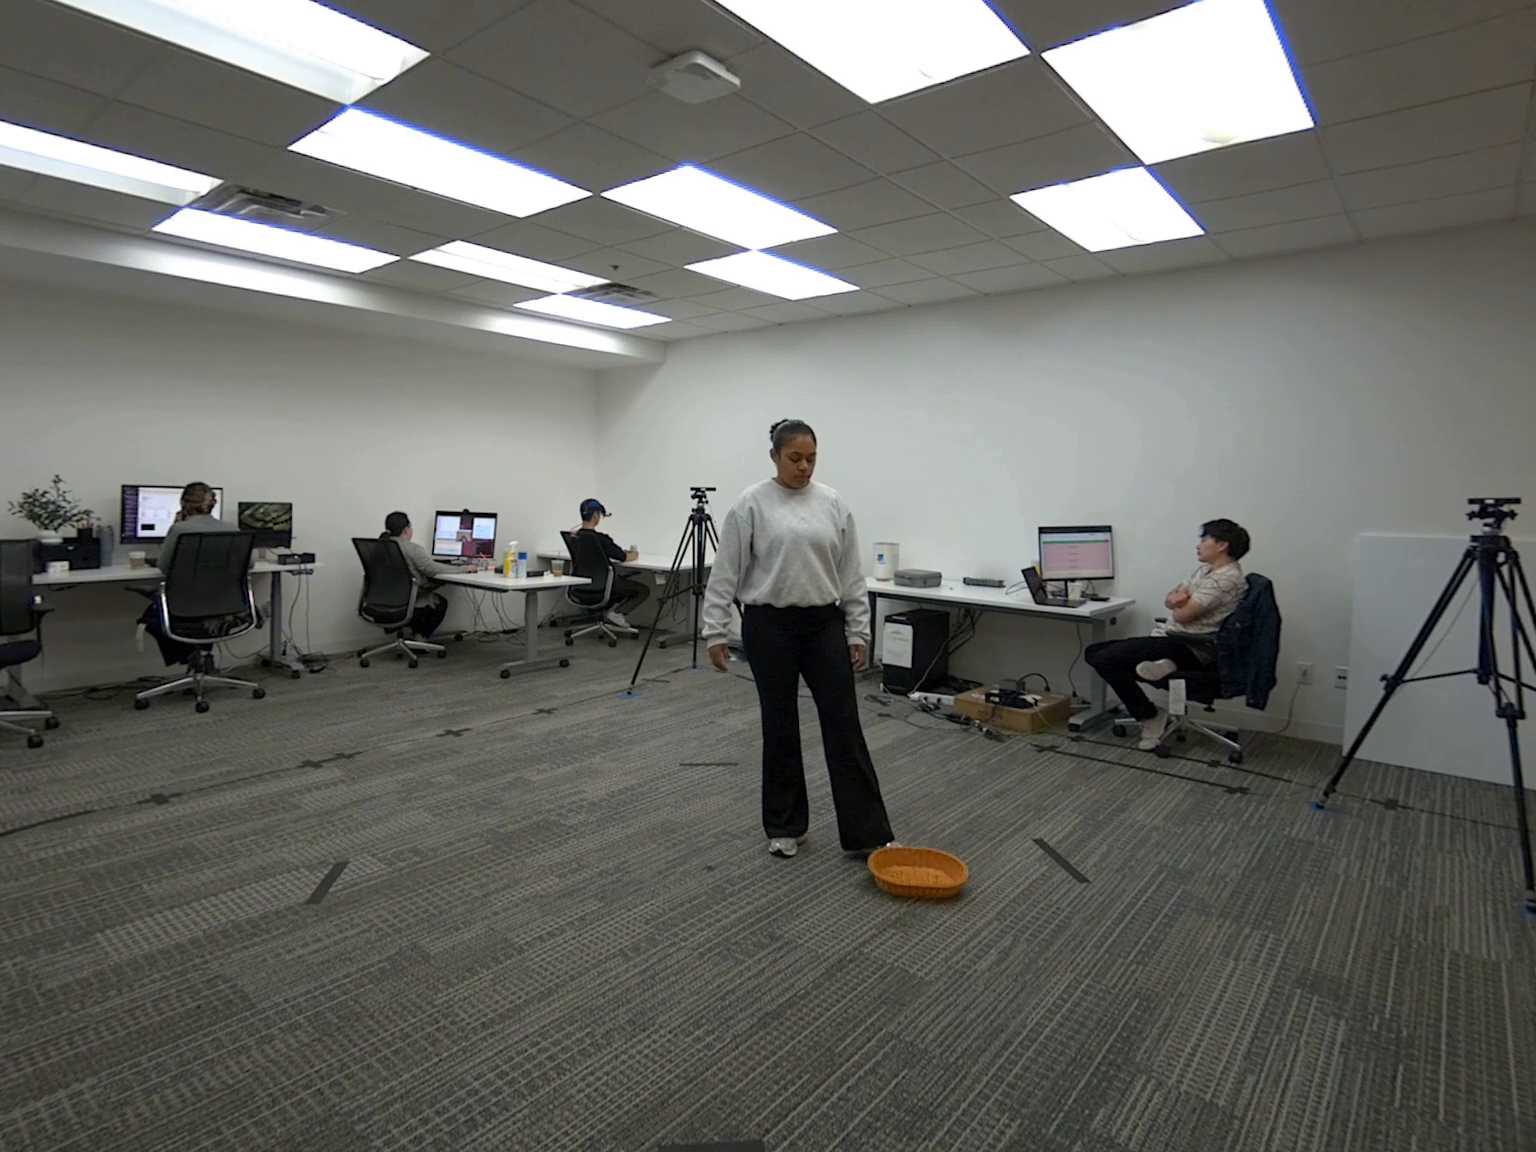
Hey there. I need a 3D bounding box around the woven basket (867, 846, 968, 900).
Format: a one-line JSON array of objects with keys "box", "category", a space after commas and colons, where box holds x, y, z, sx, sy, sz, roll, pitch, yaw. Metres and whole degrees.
[{"box": [0.511, 1.045, 3.019, 0.353, 0.073, 0.253, 2, 12, 7], "category": "woven basket"}]
